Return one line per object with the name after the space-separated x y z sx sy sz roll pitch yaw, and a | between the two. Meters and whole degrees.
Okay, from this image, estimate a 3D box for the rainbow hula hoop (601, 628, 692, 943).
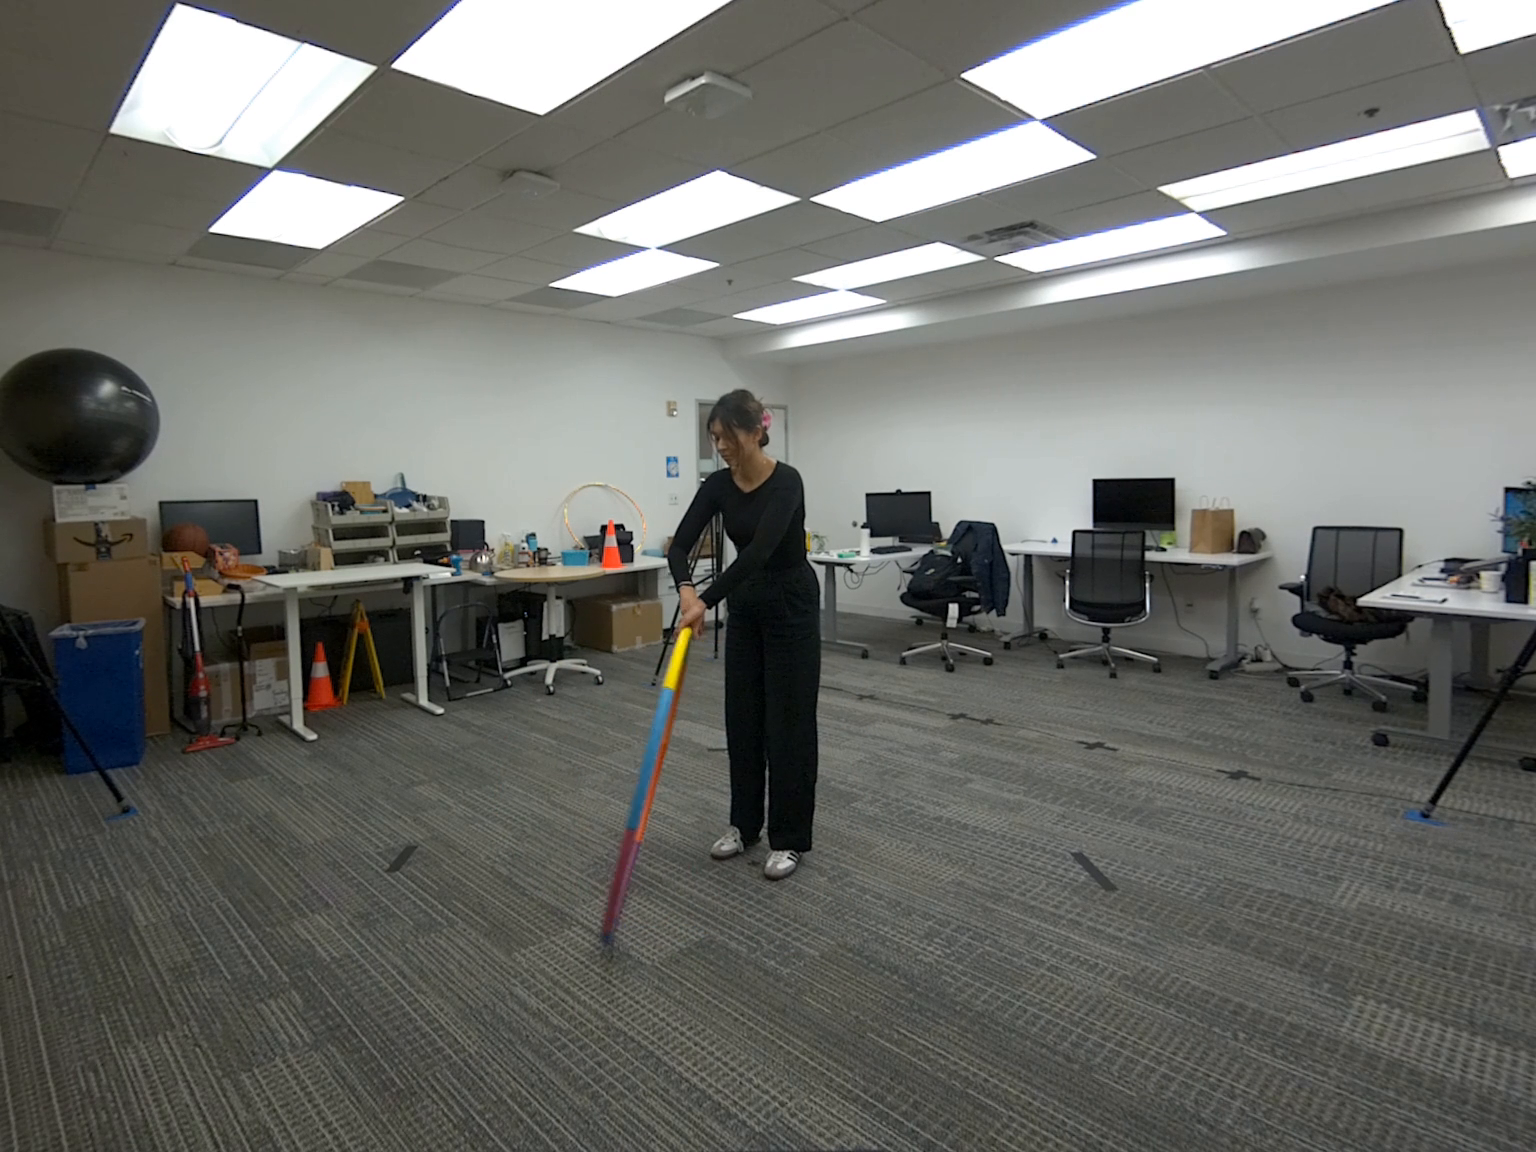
-0.375 0.632 2.689 0.035 0.976 0.982 16 5 -3 | rainbow hula hoop
